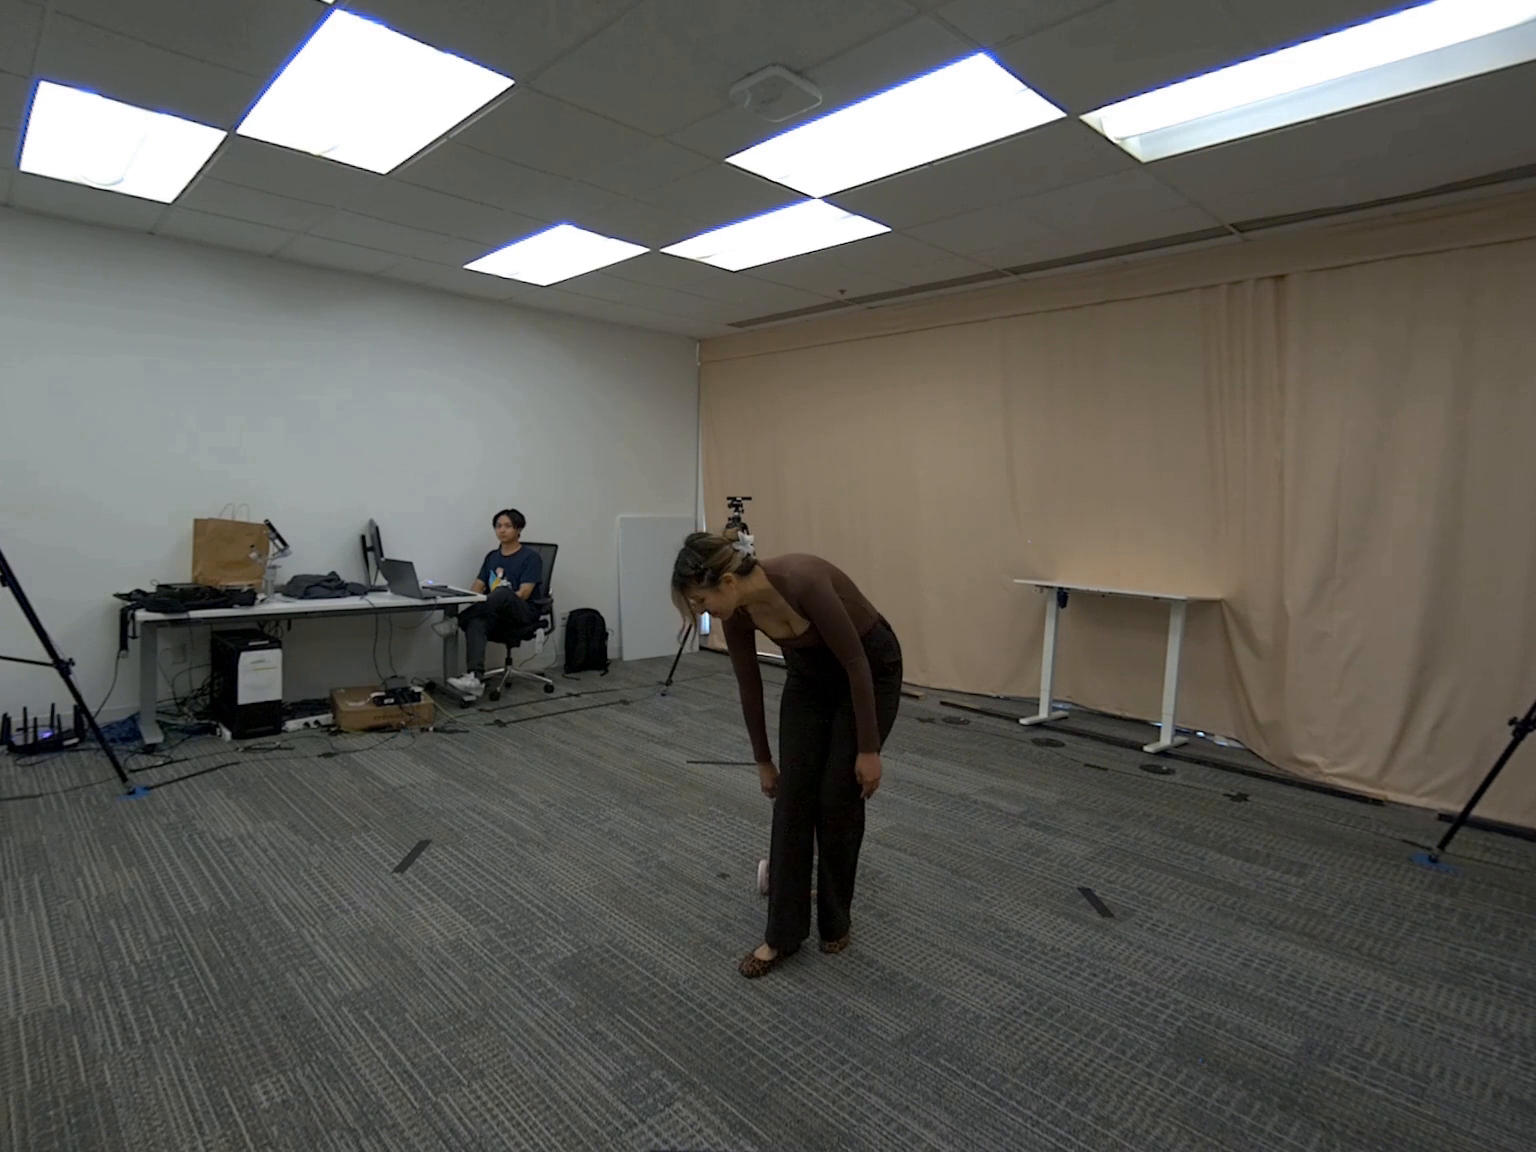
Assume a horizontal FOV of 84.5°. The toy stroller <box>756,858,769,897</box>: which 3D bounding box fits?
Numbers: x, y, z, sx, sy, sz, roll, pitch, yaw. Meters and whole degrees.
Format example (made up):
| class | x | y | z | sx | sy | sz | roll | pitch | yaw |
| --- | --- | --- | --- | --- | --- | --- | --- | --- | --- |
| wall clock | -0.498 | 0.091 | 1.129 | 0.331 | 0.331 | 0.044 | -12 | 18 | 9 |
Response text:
| class | x | y | z | sx | sy | sz | roll | pitch | yaw |
| --- | --- | --- | --- | --- | --- | --- | --- | --- | --- |
| toy stroller | 0.126 | 0.902 | 3.002 | 0.285 | 0.527 | 0.341 | 3 | 20 | 17 |
